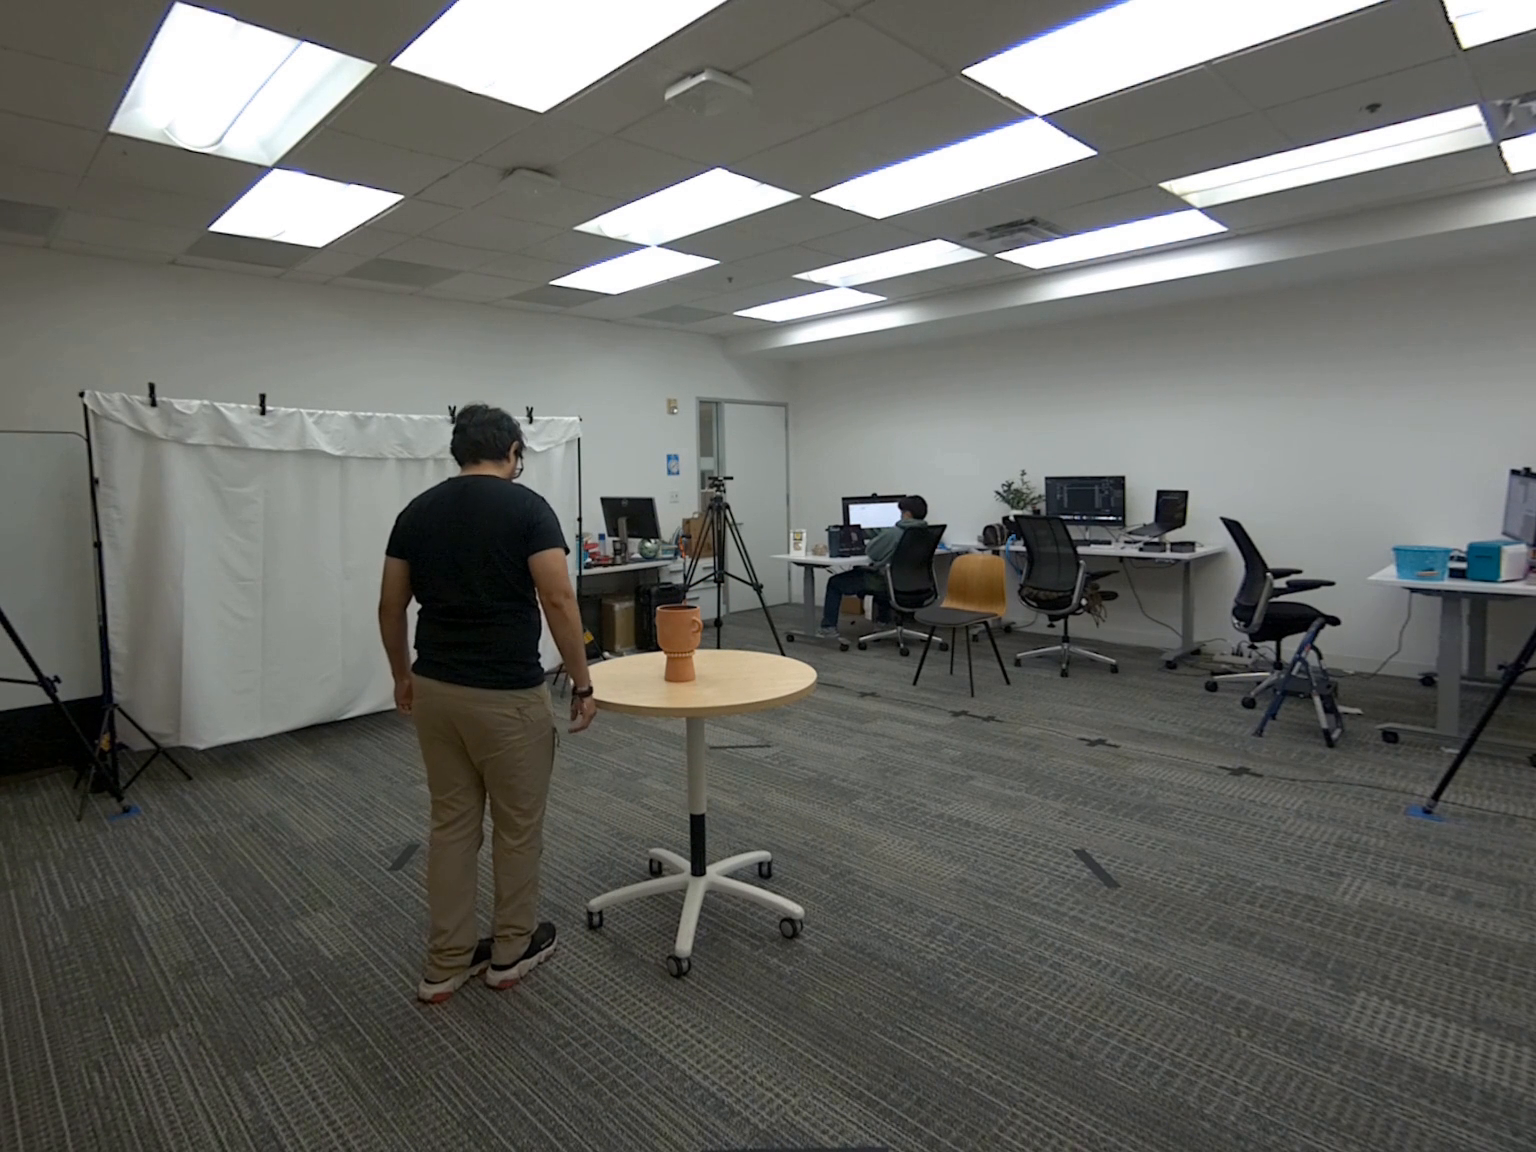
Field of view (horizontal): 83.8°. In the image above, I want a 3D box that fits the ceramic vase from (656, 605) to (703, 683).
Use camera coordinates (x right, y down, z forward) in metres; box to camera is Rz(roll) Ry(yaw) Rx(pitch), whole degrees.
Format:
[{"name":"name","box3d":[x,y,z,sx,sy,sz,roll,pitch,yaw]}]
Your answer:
[{"name":"ceramic vase","box3d":[-0.269,0.208,2.613,0.133,0.219,0.161,-2,4,-10]}]
